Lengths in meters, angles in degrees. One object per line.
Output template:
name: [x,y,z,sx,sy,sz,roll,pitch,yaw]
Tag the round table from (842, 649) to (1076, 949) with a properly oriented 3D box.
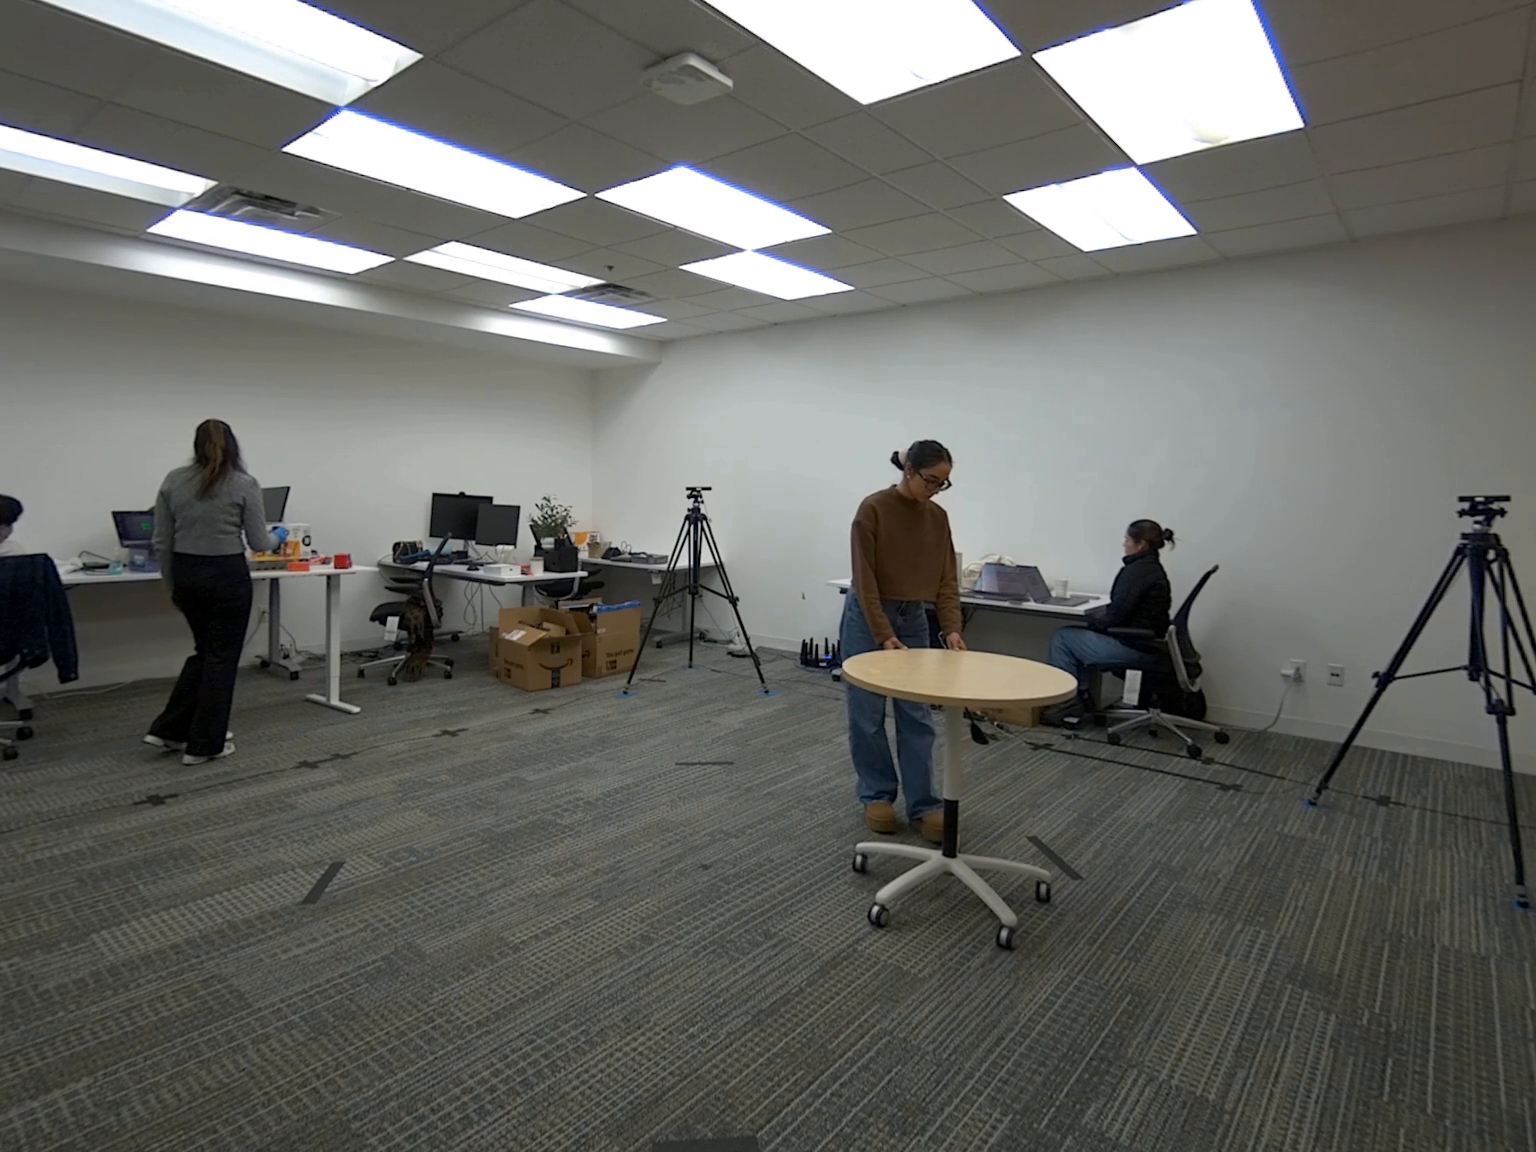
round table: [0.617,0.714,2.920,0.763,0.791,0.768,1,5,-2]
